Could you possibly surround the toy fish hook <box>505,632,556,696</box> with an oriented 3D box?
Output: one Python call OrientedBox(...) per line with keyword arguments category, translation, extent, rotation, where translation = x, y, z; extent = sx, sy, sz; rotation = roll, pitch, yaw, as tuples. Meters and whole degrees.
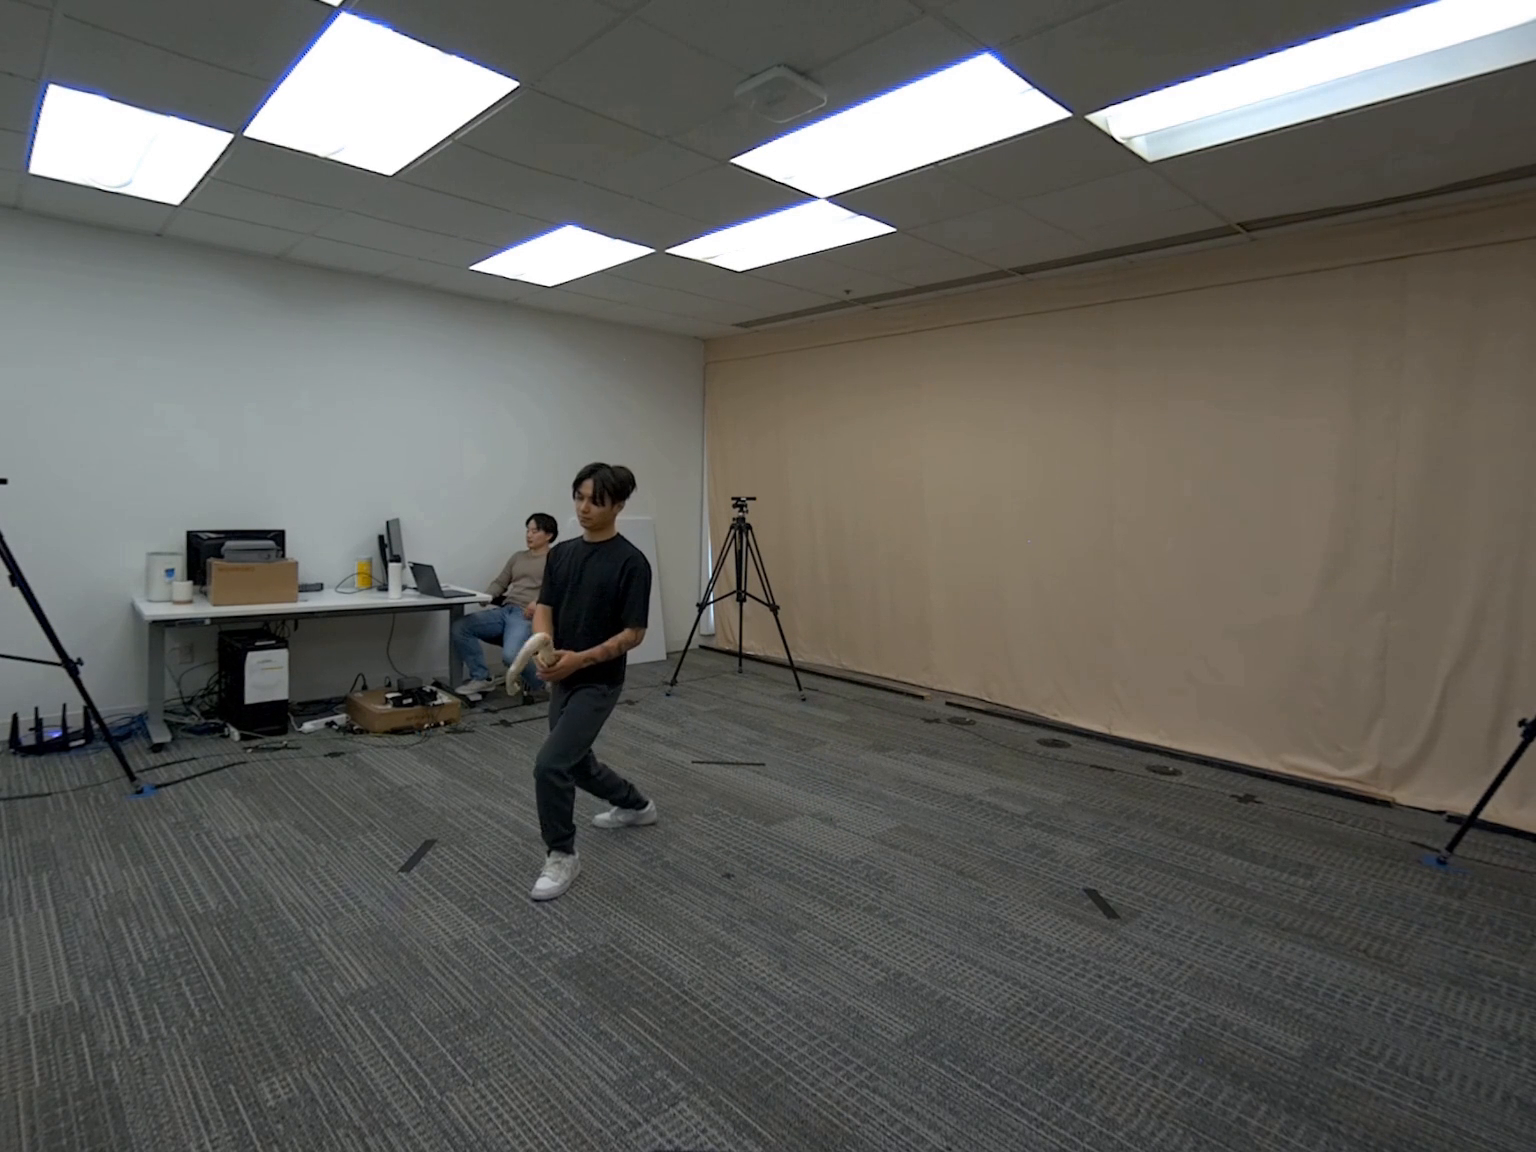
OrientedBox(category="toy fish hook", translation=(-0.781, 0.316, 2.837), extent=(0.049, 0.225, 0.500), rotation=(30, -12, 8))
